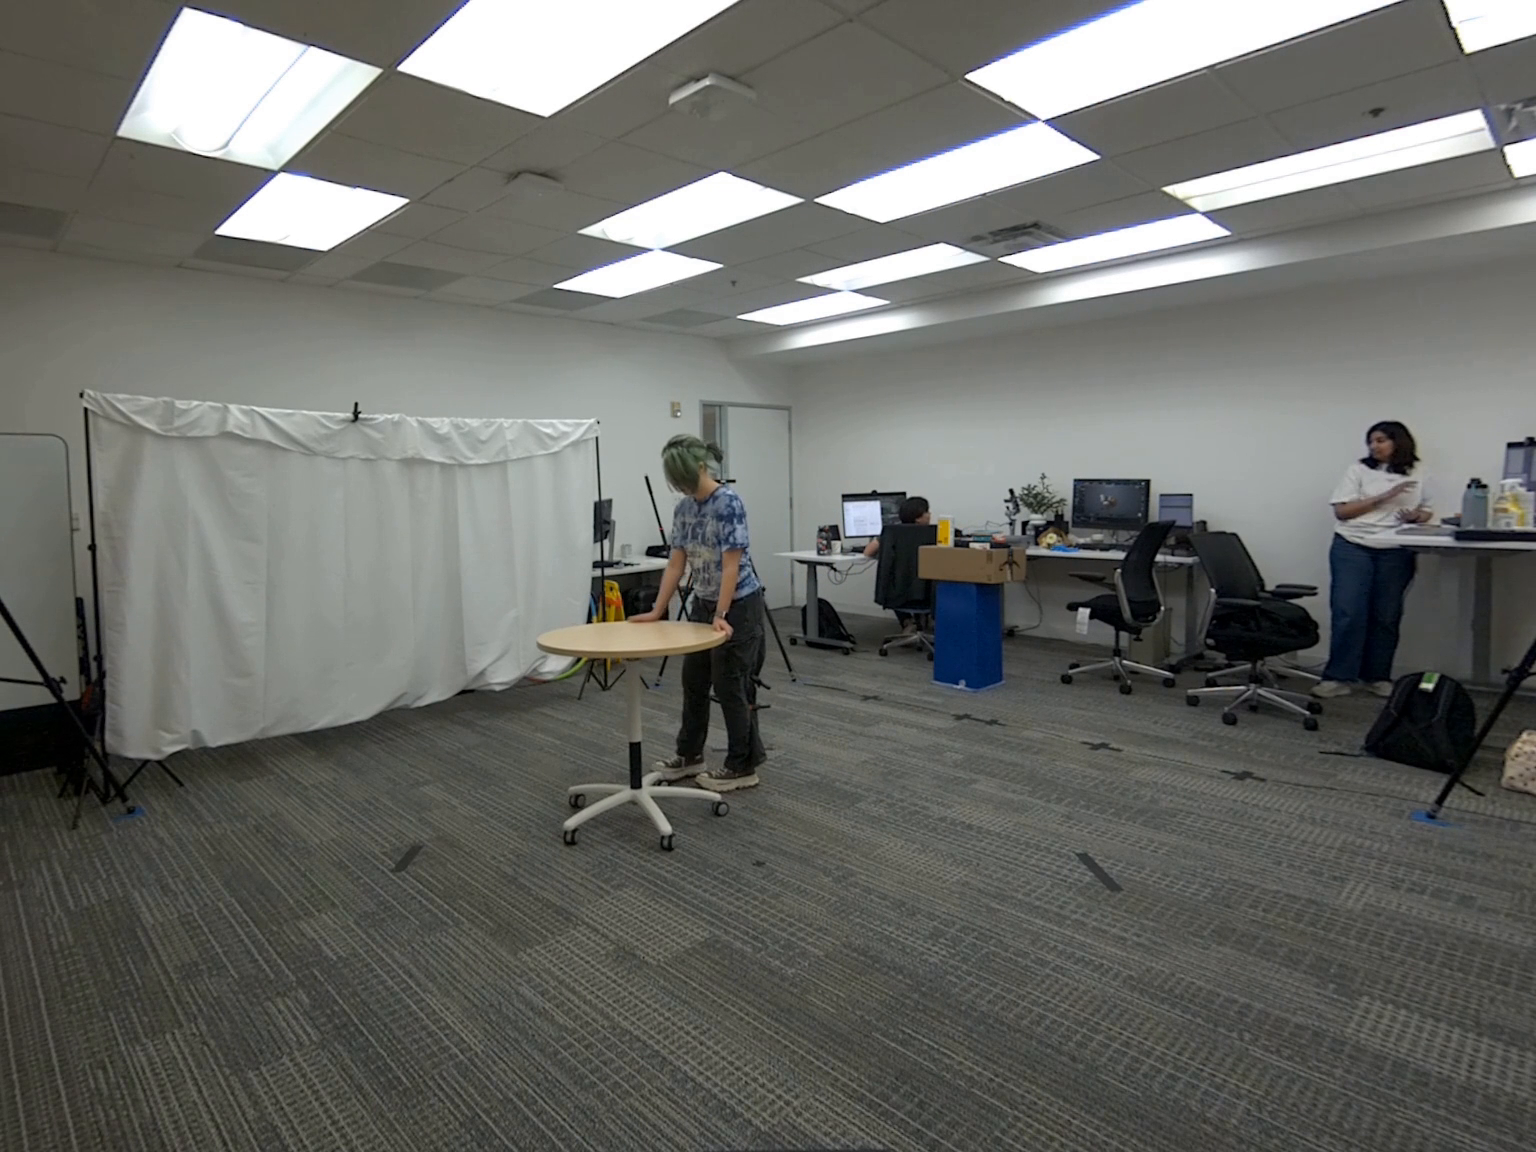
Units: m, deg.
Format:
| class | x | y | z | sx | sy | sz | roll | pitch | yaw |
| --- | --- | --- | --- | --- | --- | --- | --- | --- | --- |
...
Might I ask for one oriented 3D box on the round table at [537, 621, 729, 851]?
| class | x | y | z | sx | sy | sz | roll | pitch | yaw |
| --- | --- | --- | --- | --- | --- | --- | --- | --- | --- |
| round table | -0.548 | 0.627 | 3.503 | 0.763 | 0.792 | 0.767 | -1 | 4 | -2 |
